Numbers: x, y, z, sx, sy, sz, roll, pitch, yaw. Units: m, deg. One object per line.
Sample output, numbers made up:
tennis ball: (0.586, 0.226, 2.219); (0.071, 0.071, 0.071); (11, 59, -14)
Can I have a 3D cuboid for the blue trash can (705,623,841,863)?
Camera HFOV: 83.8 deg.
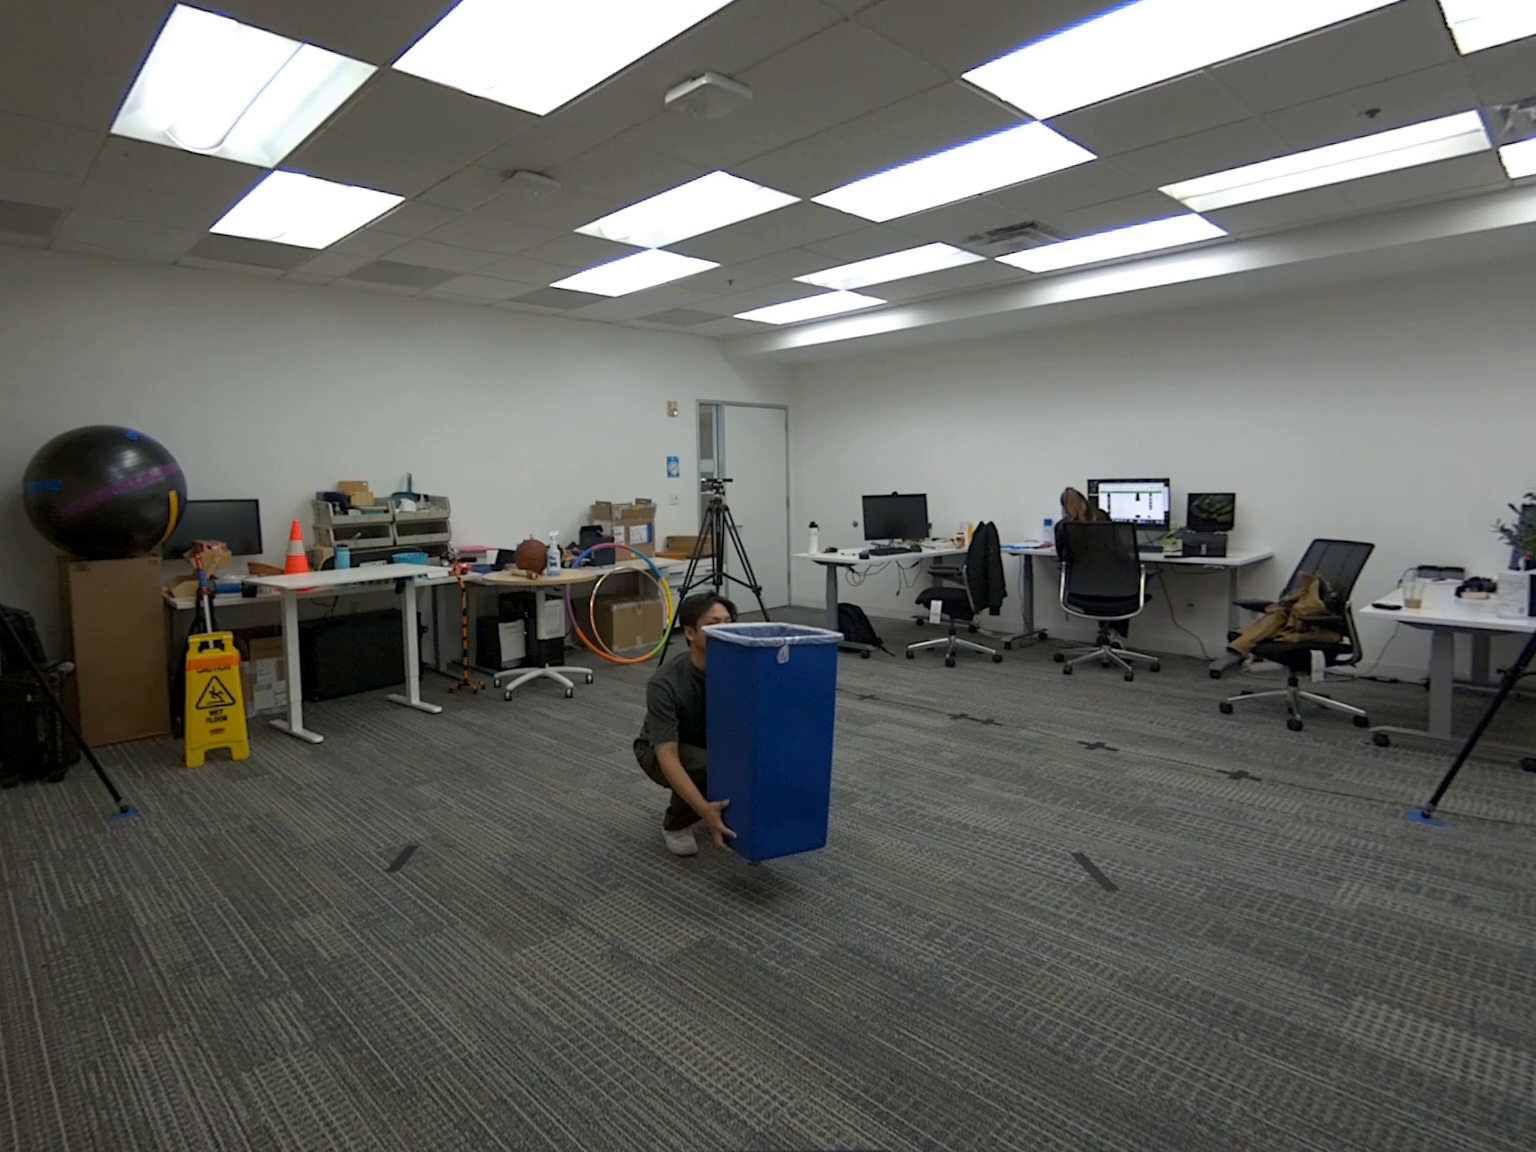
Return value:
blue trash can: (0.010, 0.535, 2.911); (0.364, 0.713, 0.388); (0, 1, -32)
